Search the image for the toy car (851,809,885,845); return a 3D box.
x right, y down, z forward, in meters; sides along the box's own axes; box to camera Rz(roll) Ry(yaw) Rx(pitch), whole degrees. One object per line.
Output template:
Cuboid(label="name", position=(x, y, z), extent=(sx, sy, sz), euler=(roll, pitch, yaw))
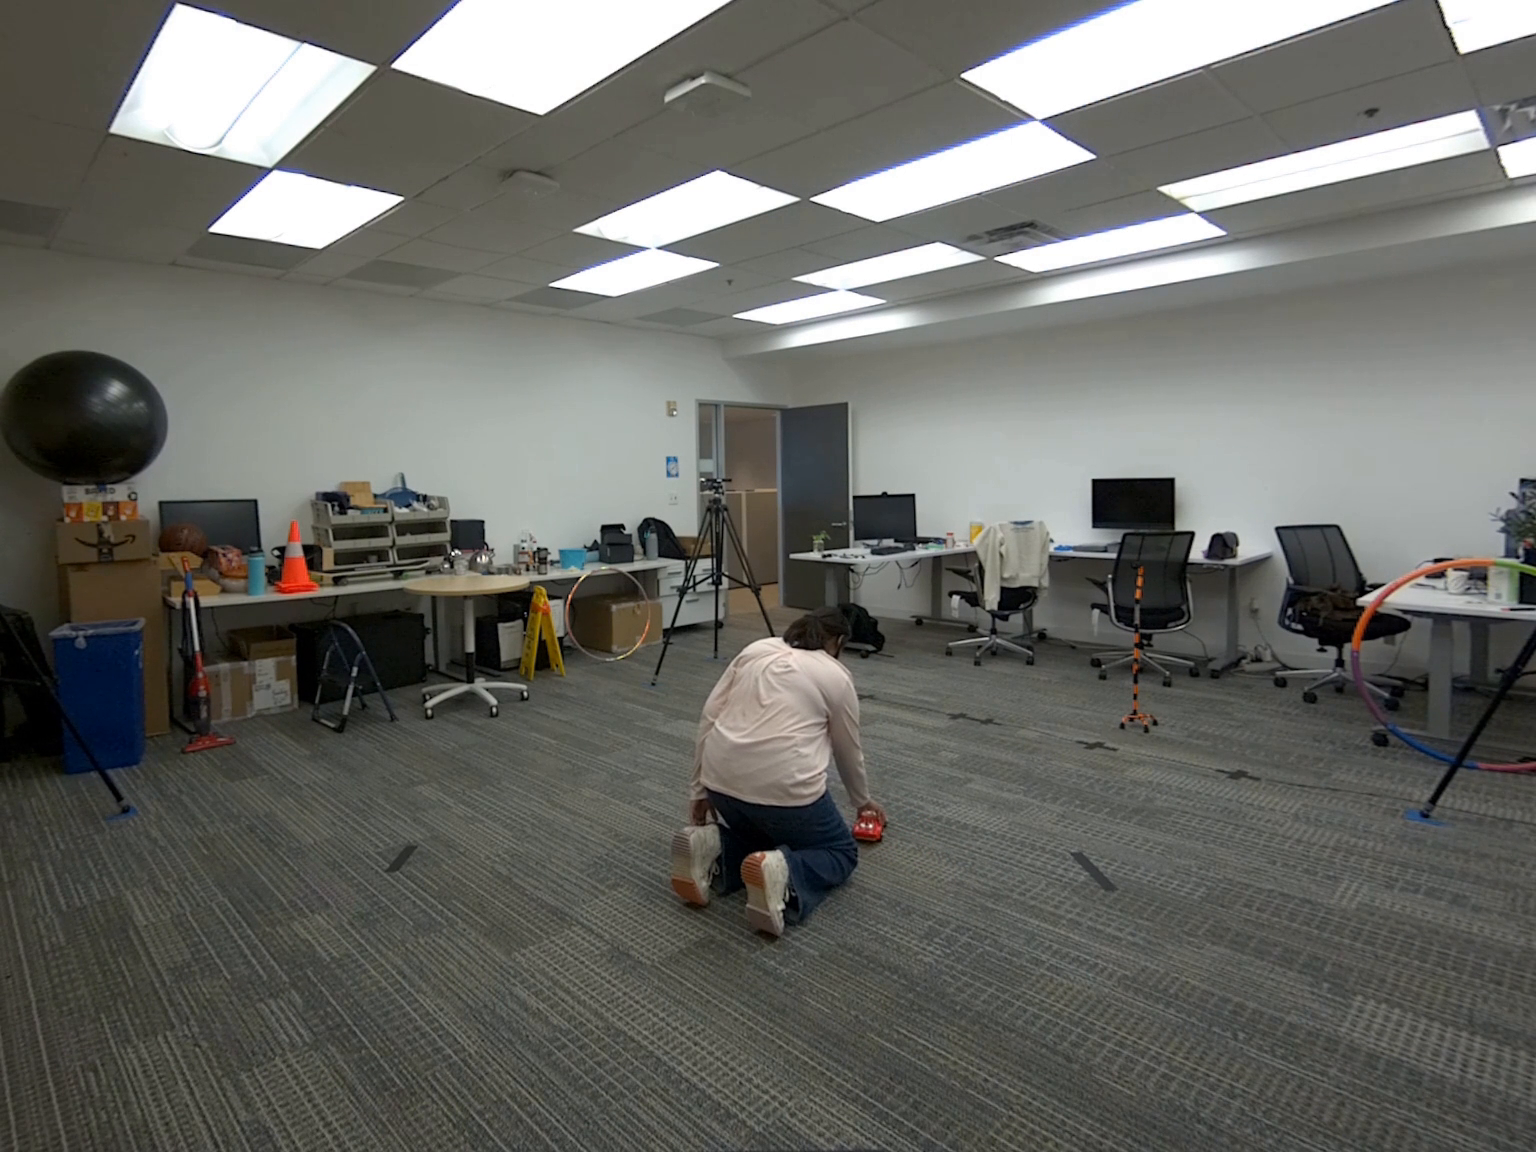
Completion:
Cuboid(label="toy car", position=(0.399, 0.981, 3.340), extent=(0.132, 0.083, 0.249), euler=(3, -4, 17))
